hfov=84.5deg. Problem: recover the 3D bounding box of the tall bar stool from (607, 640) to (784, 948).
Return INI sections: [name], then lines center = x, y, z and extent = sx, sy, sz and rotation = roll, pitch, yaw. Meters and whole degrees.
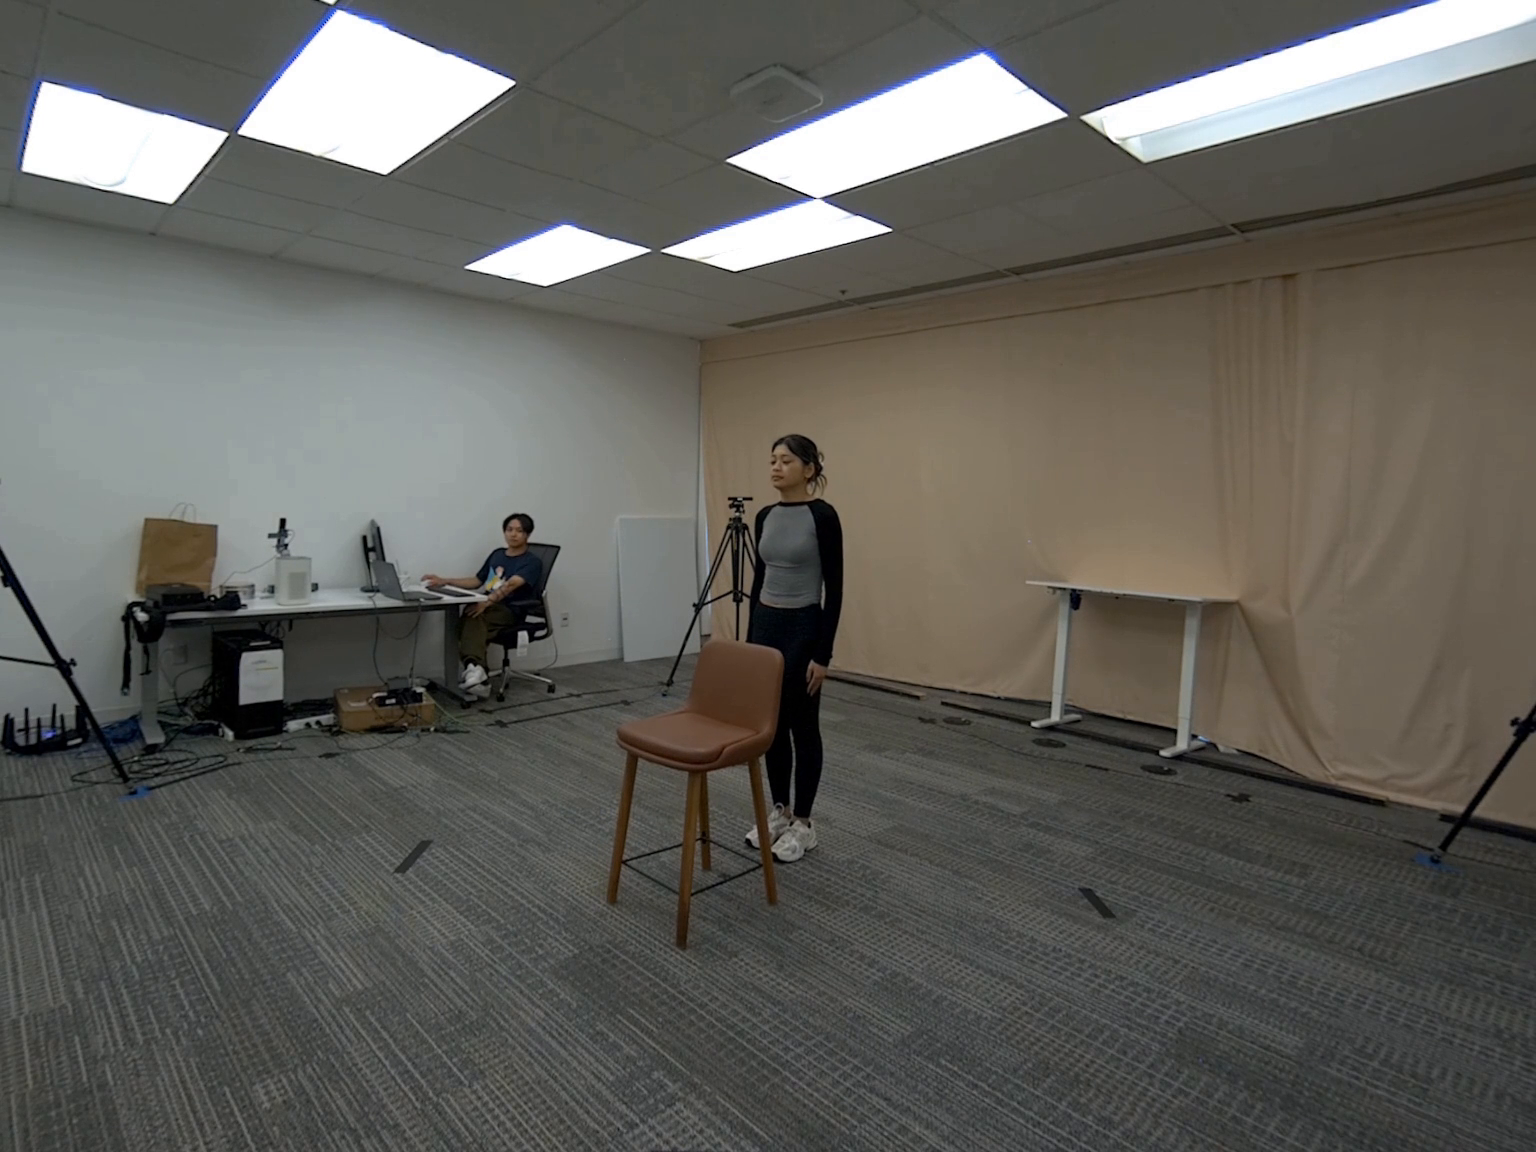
[tall bar stool]
center = -0.245, 0.692, 2.865
extent = 0.456, 0.889, 0.468
rotation = 0, 2, -44
